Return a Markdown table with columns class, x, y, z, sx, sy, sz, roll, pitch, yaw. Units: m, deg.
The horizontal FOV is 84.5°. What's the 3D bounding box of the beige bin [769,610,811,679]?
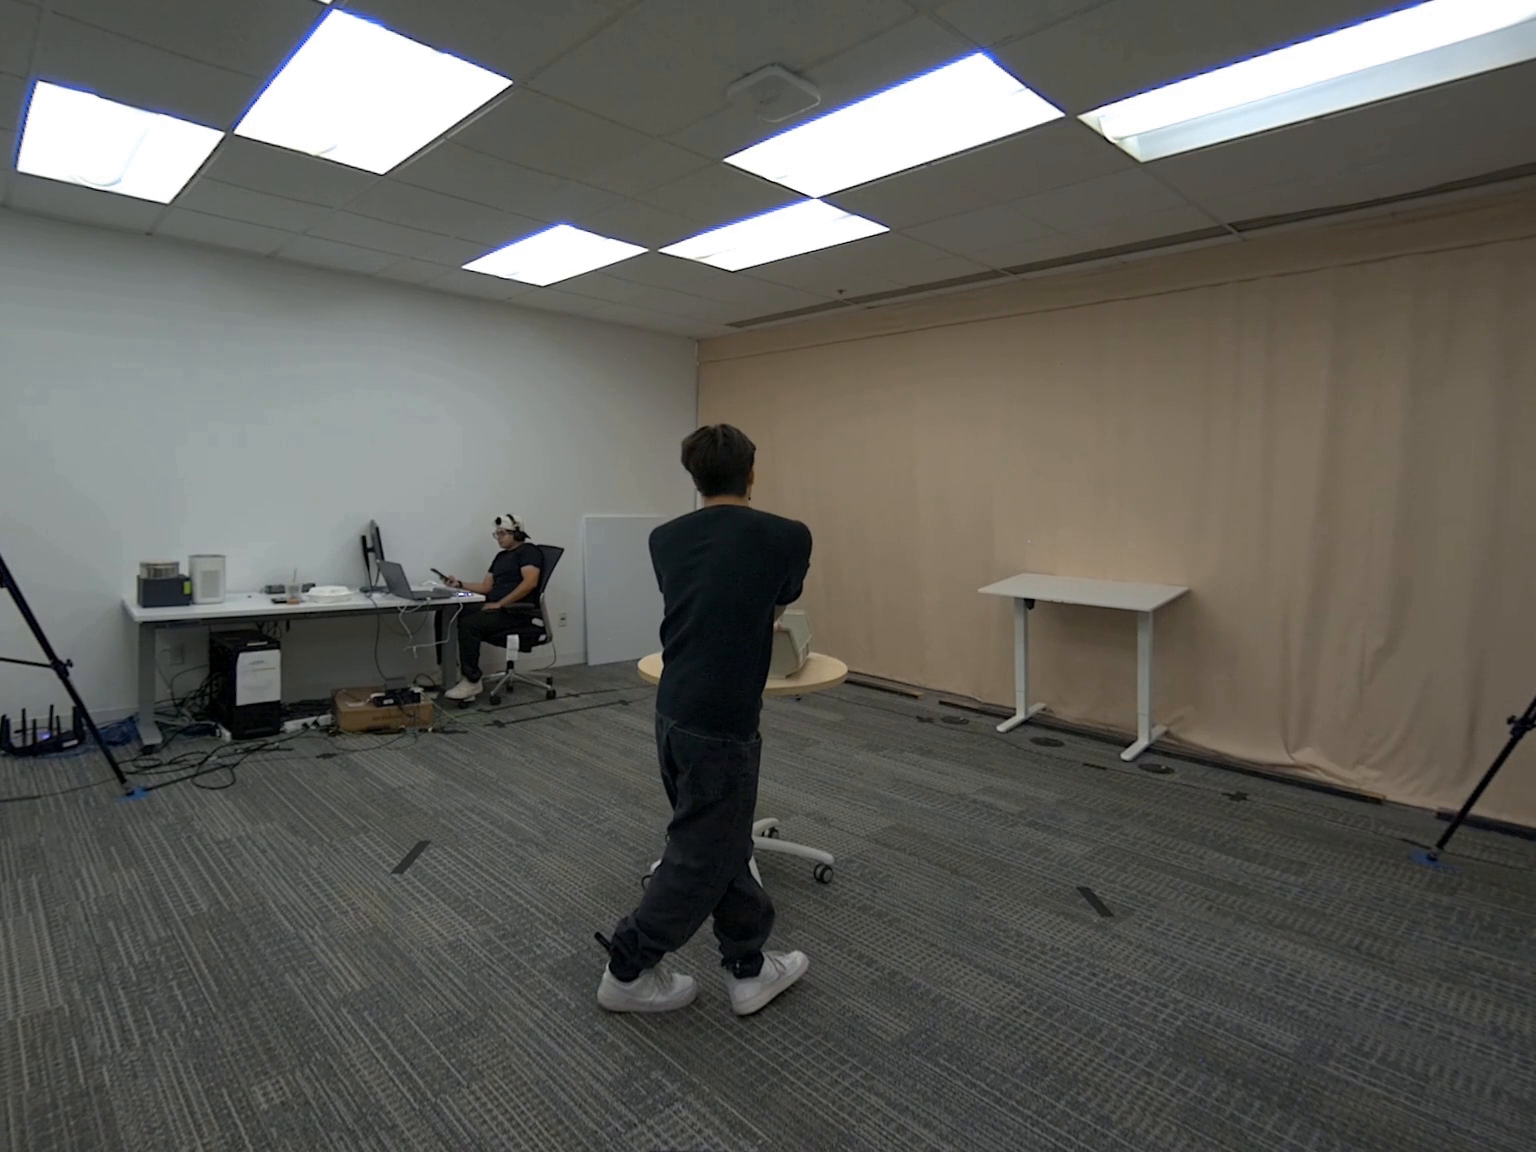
| class | x | y | z | sx | sy | sz | roll | pitch | yaw |
| --- | --- | --- | --- | --- | --- | --- | --- | --- | --- |
| beige bin | -0.051 | 0.239 | 3.071 | 0.380 | 0.188 | 0.420 | 0 | 5 | 9 |
